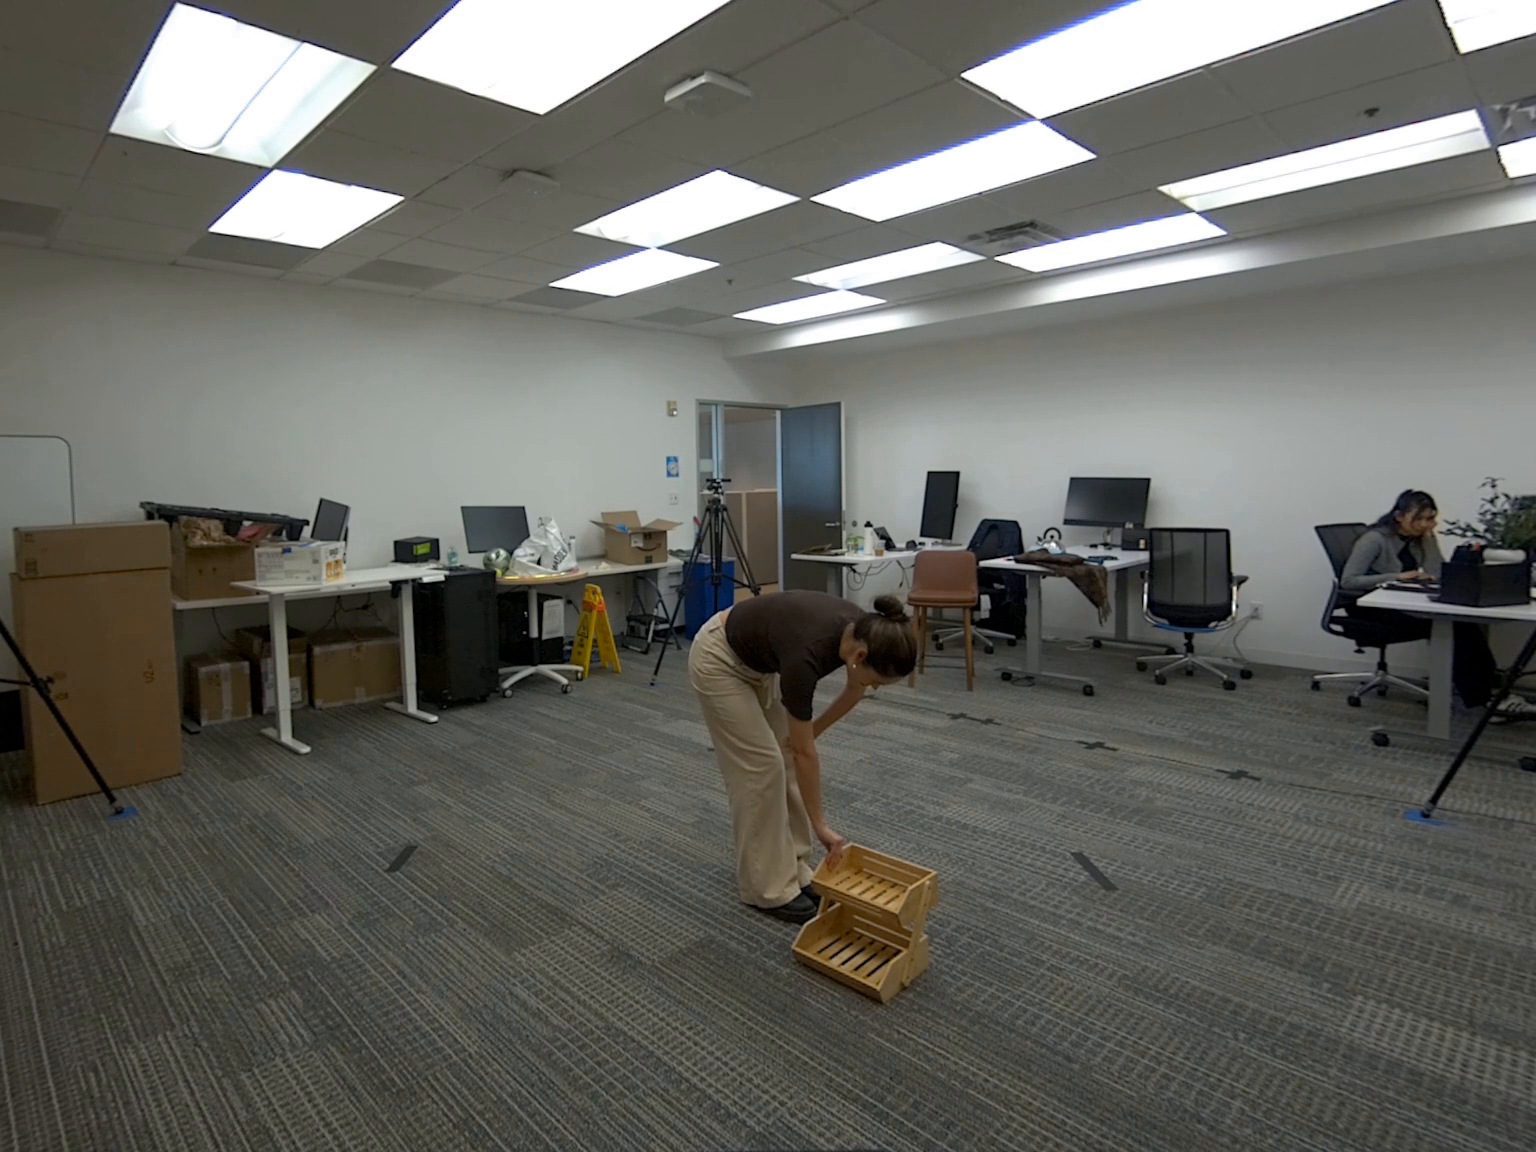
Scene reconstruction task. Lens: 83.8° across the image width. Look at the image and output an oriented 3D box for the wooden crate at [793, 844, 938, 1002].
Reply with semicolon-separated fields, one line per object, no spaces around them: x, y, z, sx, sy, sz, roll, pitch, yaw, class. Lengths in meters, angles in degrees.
0.282;0.980;2.454;0.334;0.272;0.294;4;6;43;wooden crate
